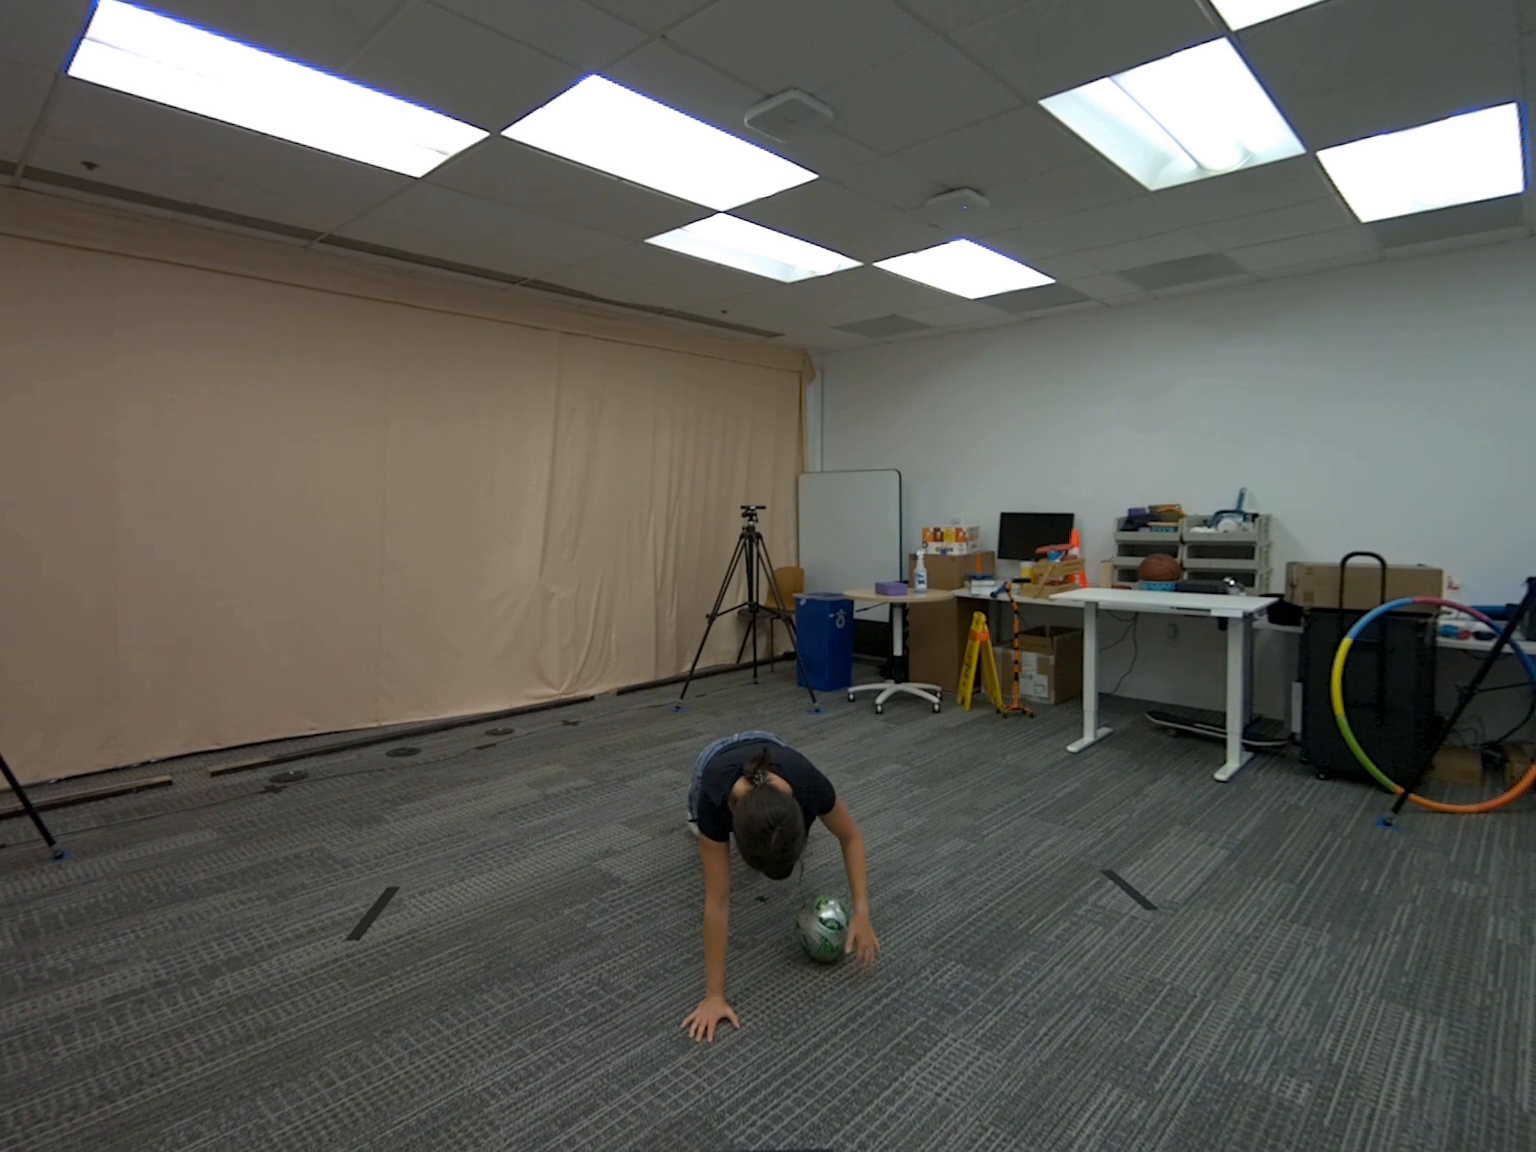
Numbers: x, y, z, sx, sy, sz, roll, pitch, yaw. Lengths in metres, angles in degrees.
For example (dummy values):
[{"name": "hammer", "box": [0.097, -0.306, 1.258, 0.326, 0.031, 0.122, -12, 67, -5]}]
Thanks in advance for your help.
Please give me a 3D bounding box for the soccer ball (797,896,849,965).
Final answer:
[{"name": "soccer ball", "box": [0.176, 1.086, 2.584, 0.187, 0.187, 0.188, 0, 4, -2]}]
